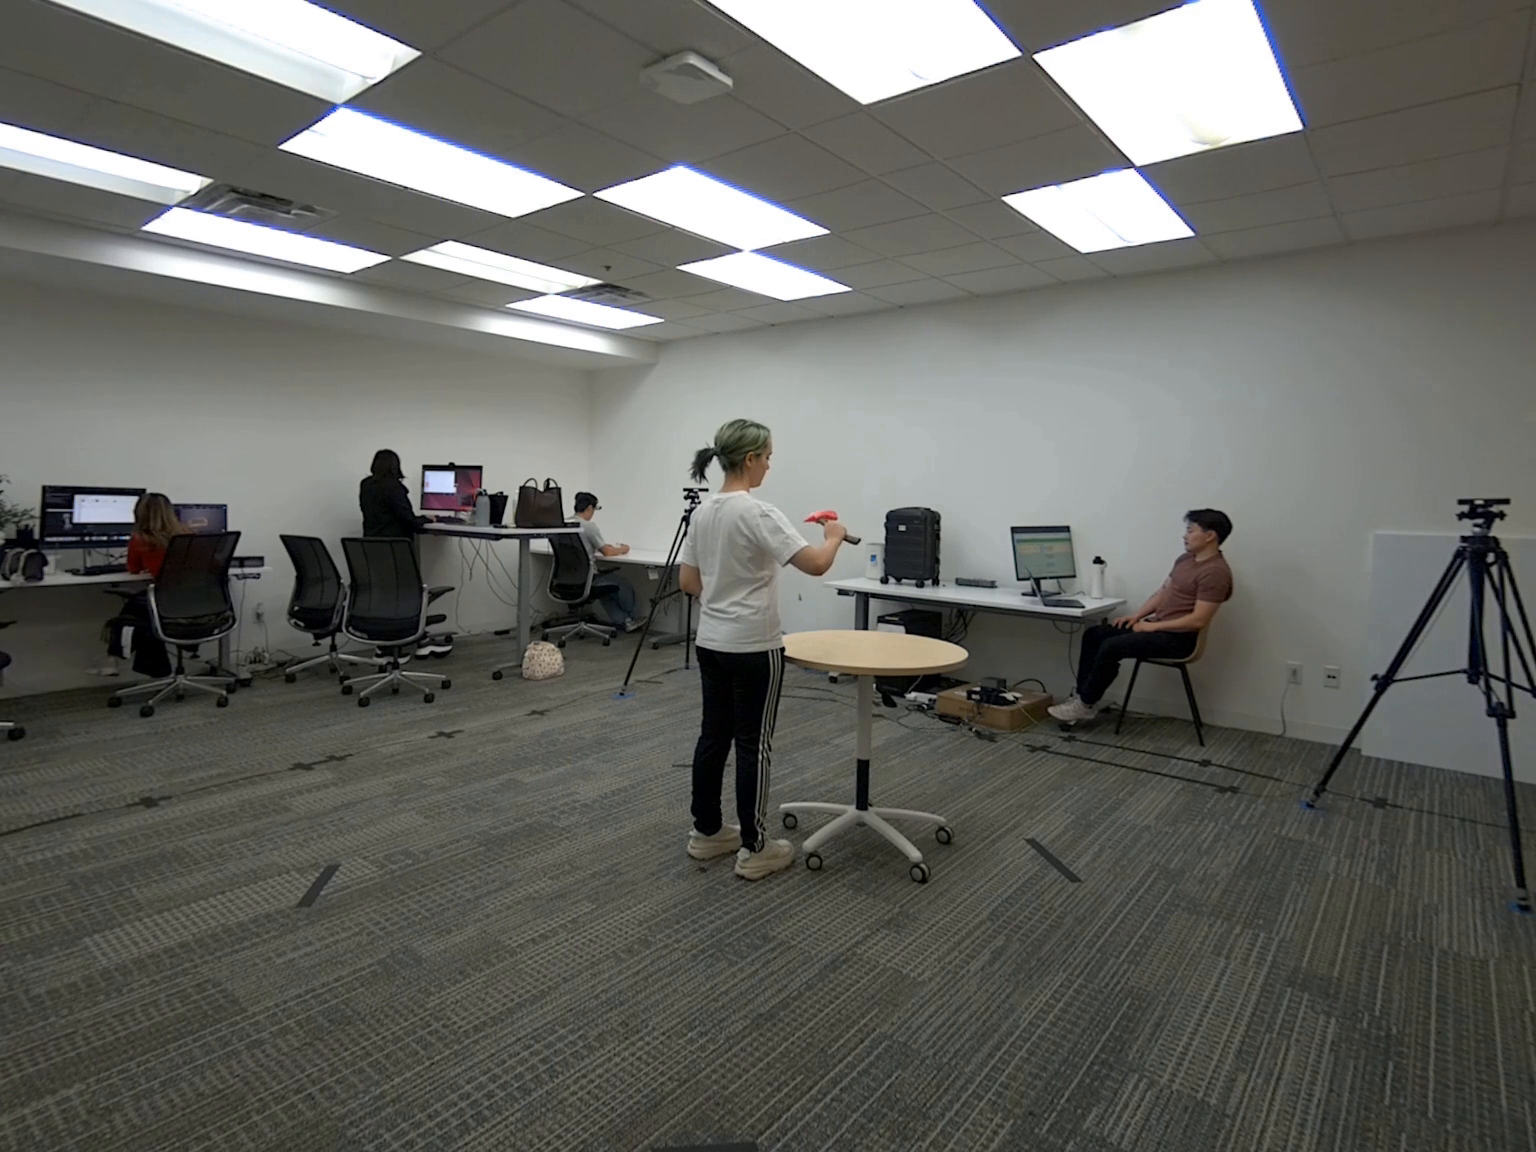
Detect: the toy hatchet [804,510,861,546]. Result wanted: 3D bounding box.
[{"bbox_3d":[0.259,-0.190,3.189,0.129,0.029,0.281,-28,40,-32],"label":"toy hatchet"}]
